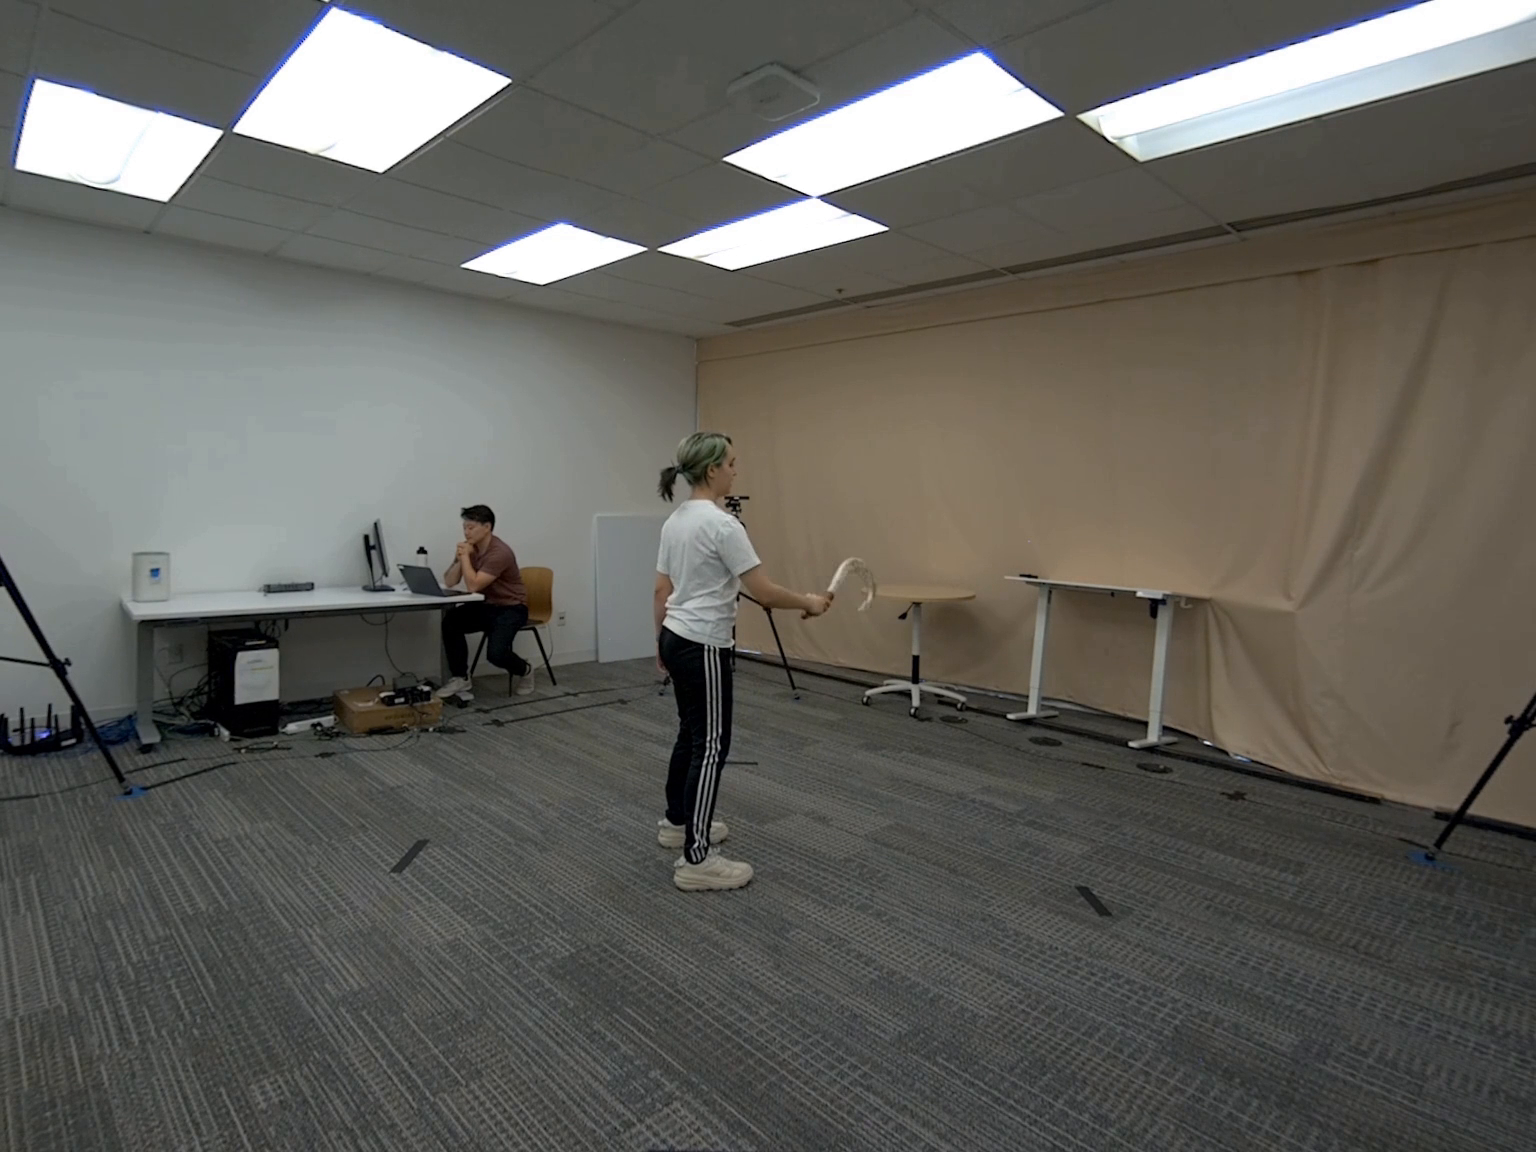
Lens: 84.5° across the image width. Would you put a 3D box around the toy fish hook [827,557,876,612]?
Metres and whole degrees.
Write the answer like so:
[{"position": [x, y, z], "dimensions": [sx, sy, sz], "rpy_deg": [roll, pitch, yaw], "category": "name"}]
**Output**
[{"position": [0.294, 0.092, 3.404], "dimensions": [0.049, 0.224, 0.503], "rpy_deg": [-29, 6, 44], "category": "toy fish hook"}]
